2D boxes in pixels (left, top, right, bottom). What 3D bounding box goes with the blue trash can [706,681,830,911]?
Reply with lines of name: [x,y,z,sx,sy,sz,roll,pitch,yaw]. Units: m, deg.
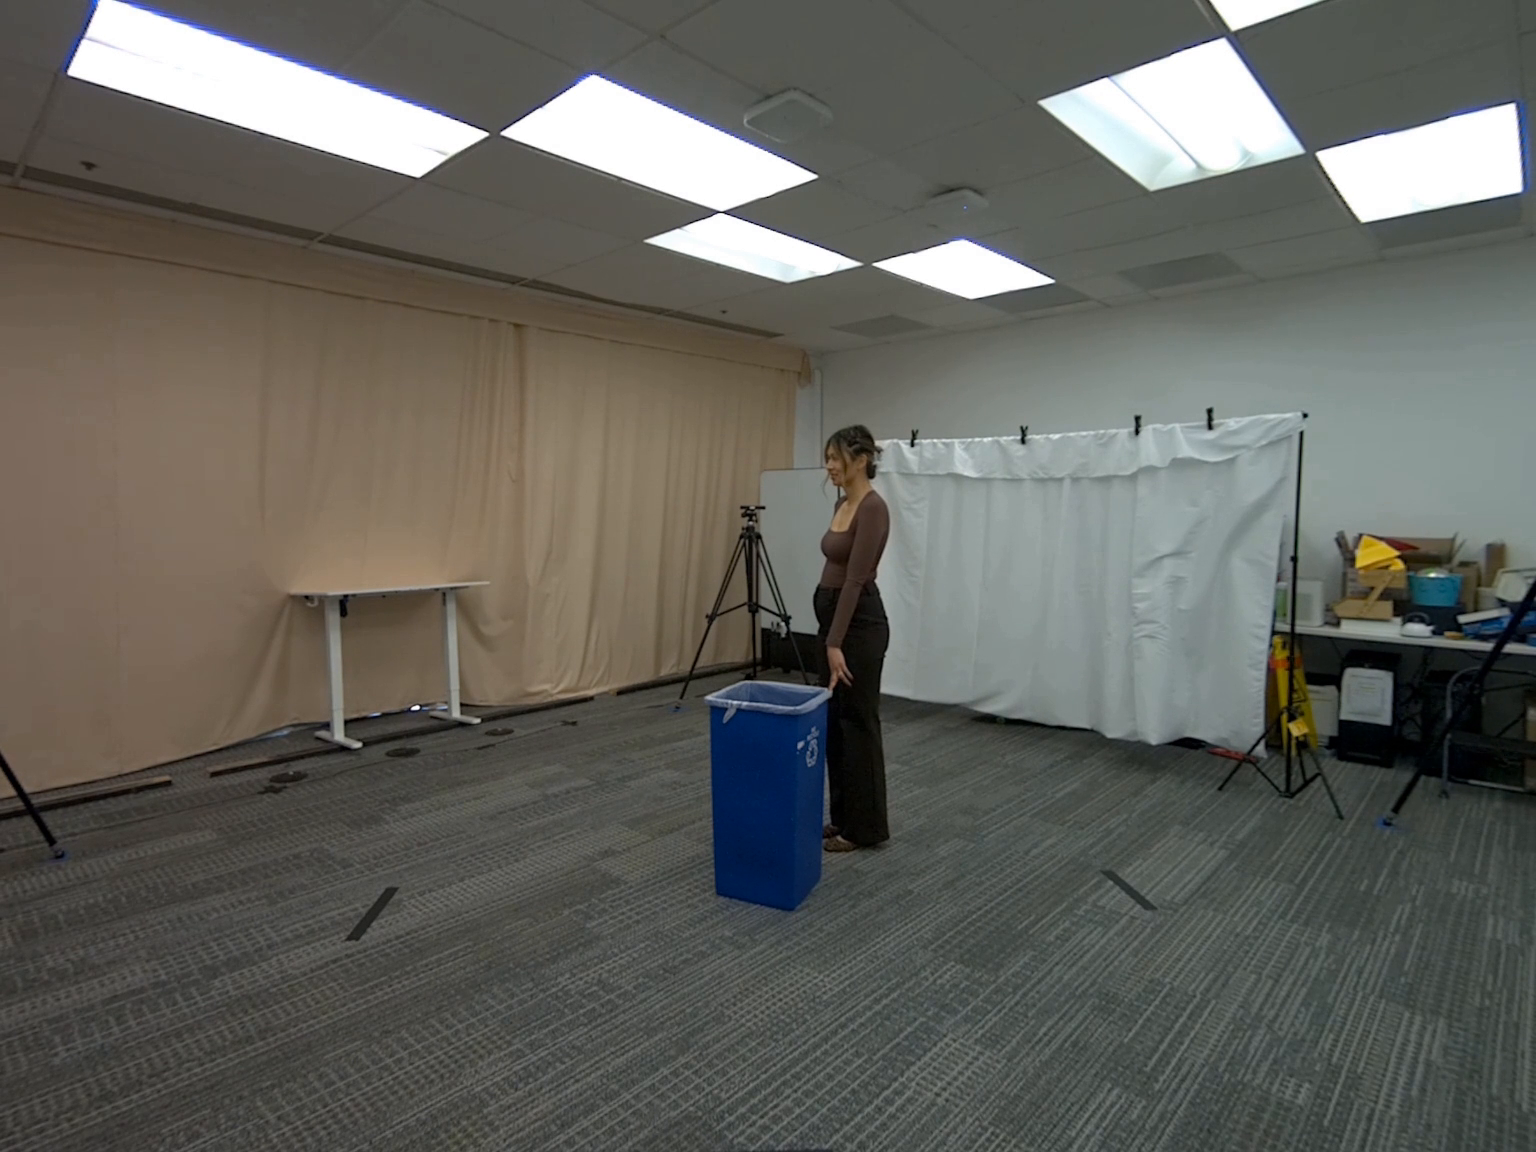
blue trash can: [0.007,0.777,3.070,0.388,0.712,0.365,2,4,25]
